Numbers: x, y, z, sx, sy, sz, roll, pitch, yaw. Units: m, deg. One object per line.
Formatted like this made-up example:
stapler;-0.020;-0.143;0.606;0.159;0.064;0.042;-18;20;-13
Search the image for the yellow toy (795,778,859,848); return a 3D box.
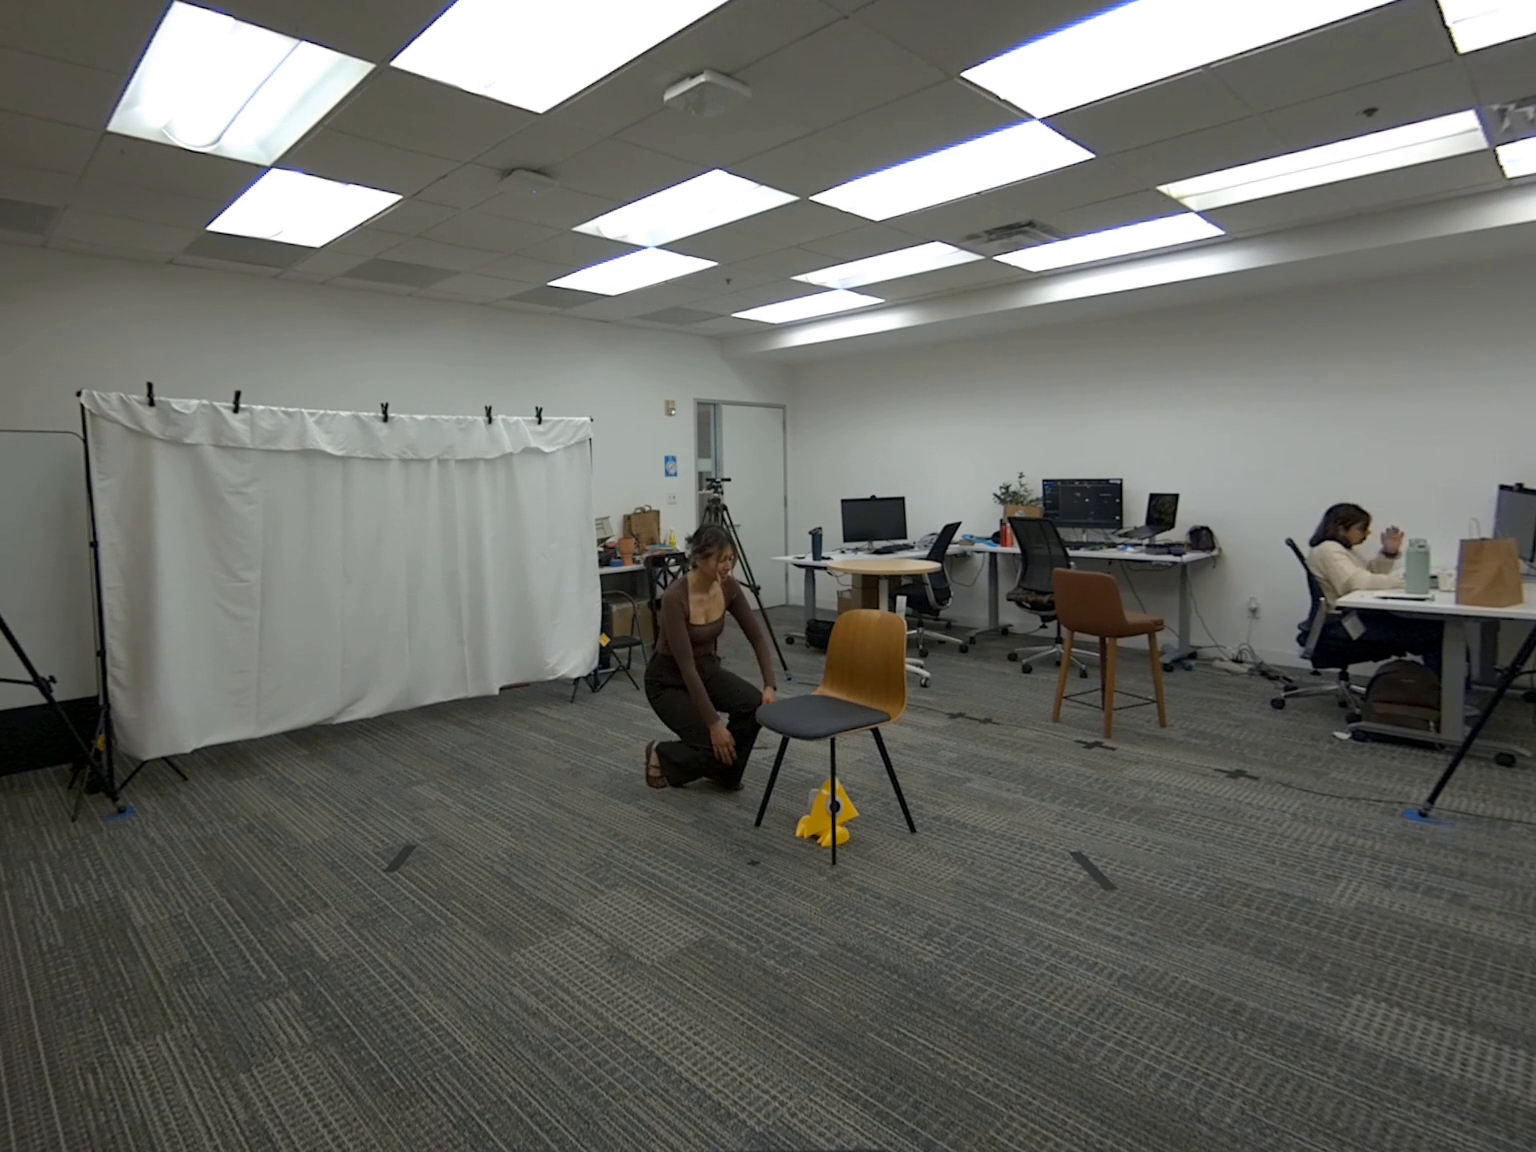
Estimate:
yellow toy;0.226;0.902;3.336;0.211;0.230;0.188;4;7;45
